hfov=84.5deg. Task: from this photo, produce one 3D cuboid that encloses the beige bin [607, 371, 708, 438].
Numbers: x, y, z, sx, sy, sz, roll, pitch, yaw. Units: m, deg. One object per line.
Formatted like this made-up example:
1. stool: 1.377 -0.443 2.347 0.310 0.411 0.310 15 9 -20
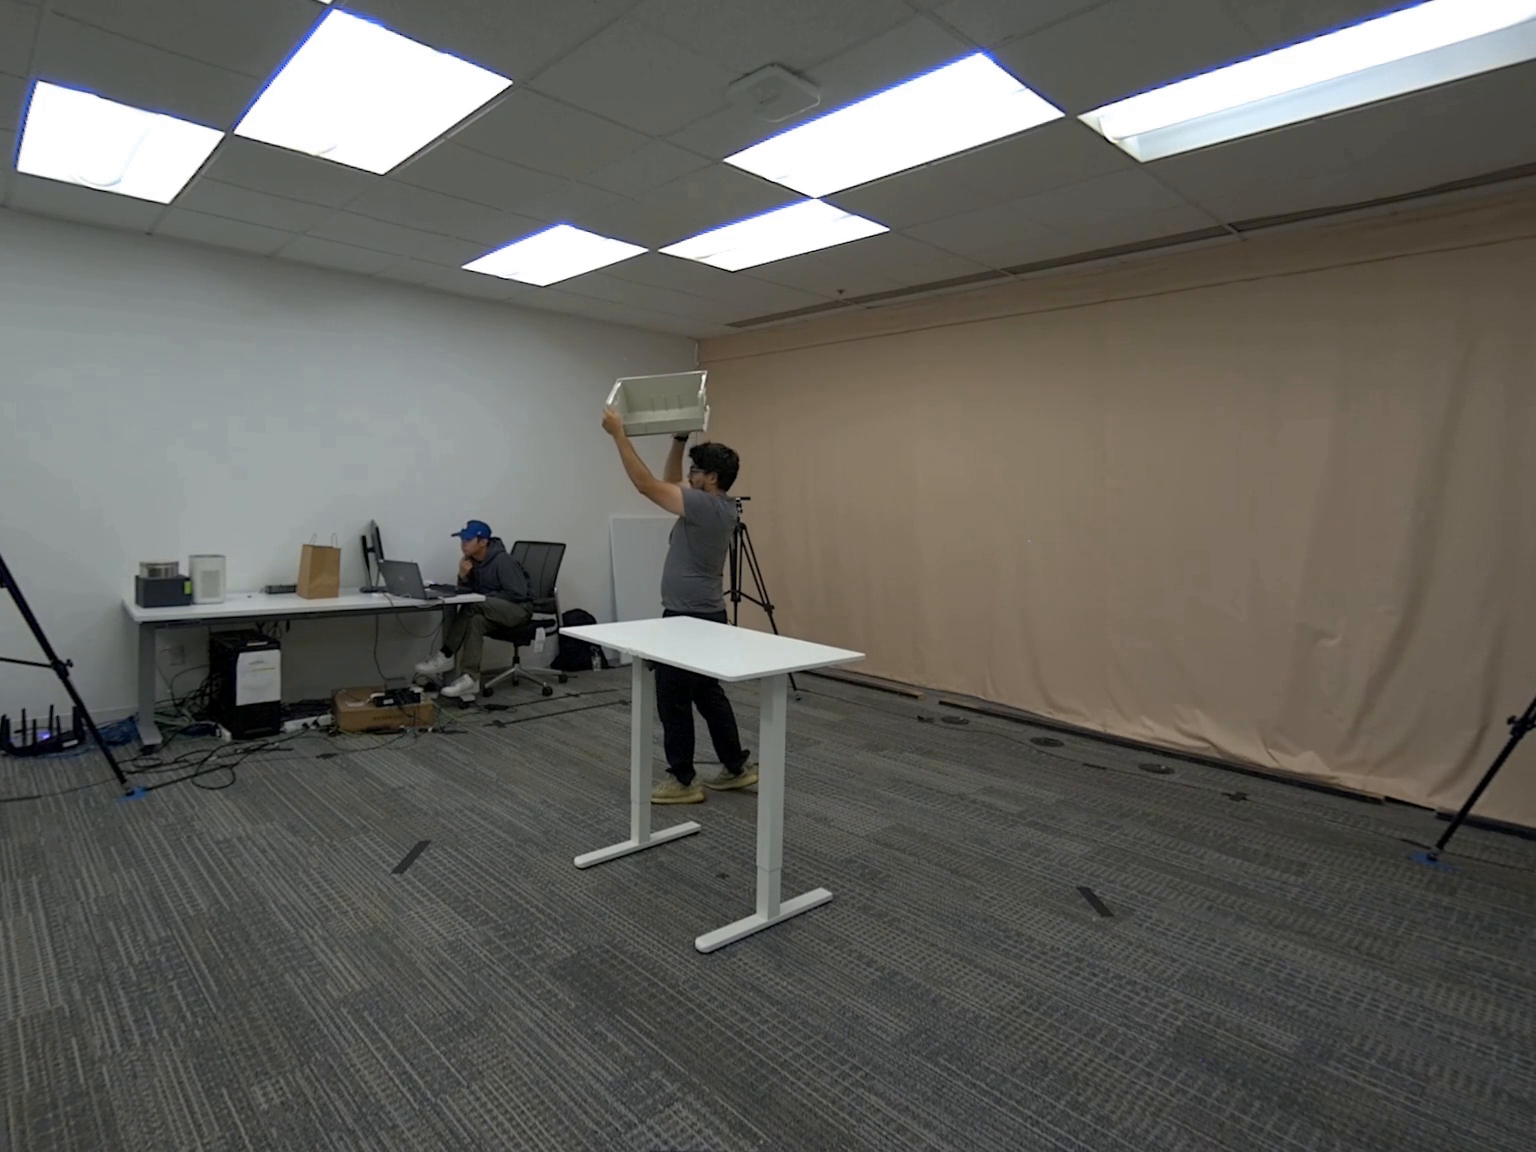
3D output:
1. beige bin: -0.490 -0.760 3.799 0.423 0.185 0.384 -5 30 3
